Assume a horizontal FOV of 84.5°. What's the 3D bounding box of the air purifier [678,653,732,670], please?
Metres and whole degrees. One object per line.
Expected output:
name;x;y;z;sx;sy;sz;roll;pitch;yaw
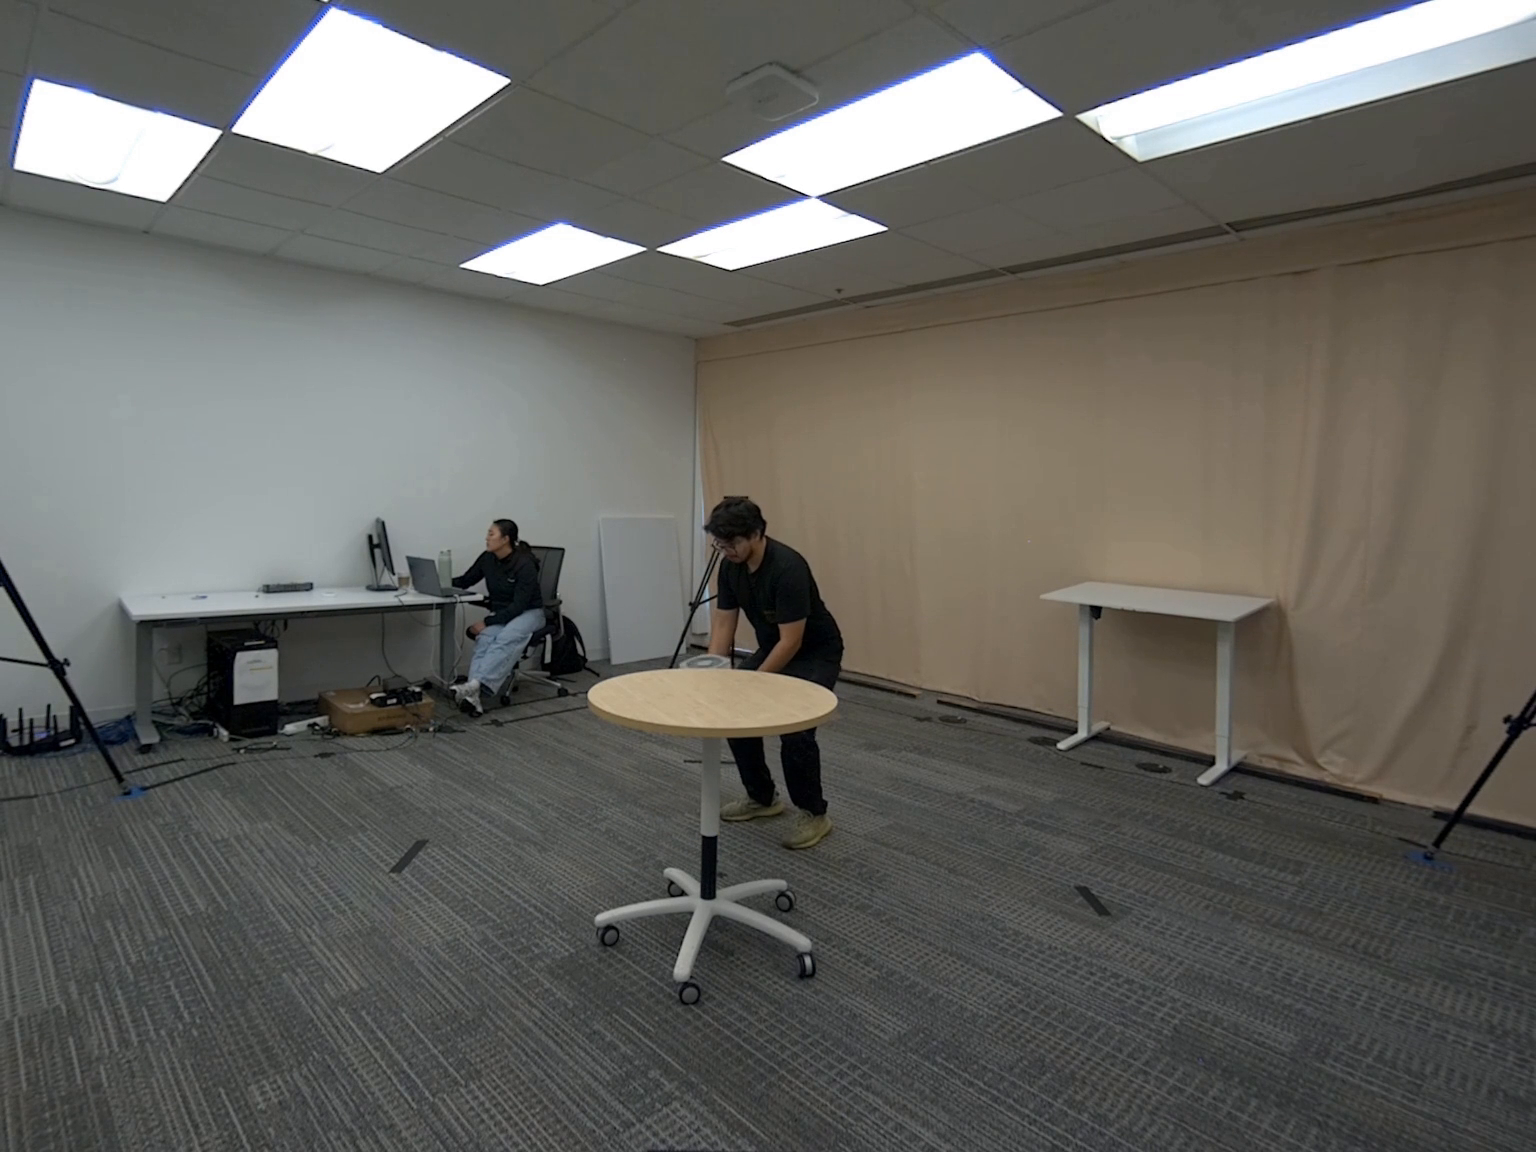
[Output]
air purifier;-0.266;0.465;3.259;0.176;0.263;0.168;10;16;43
